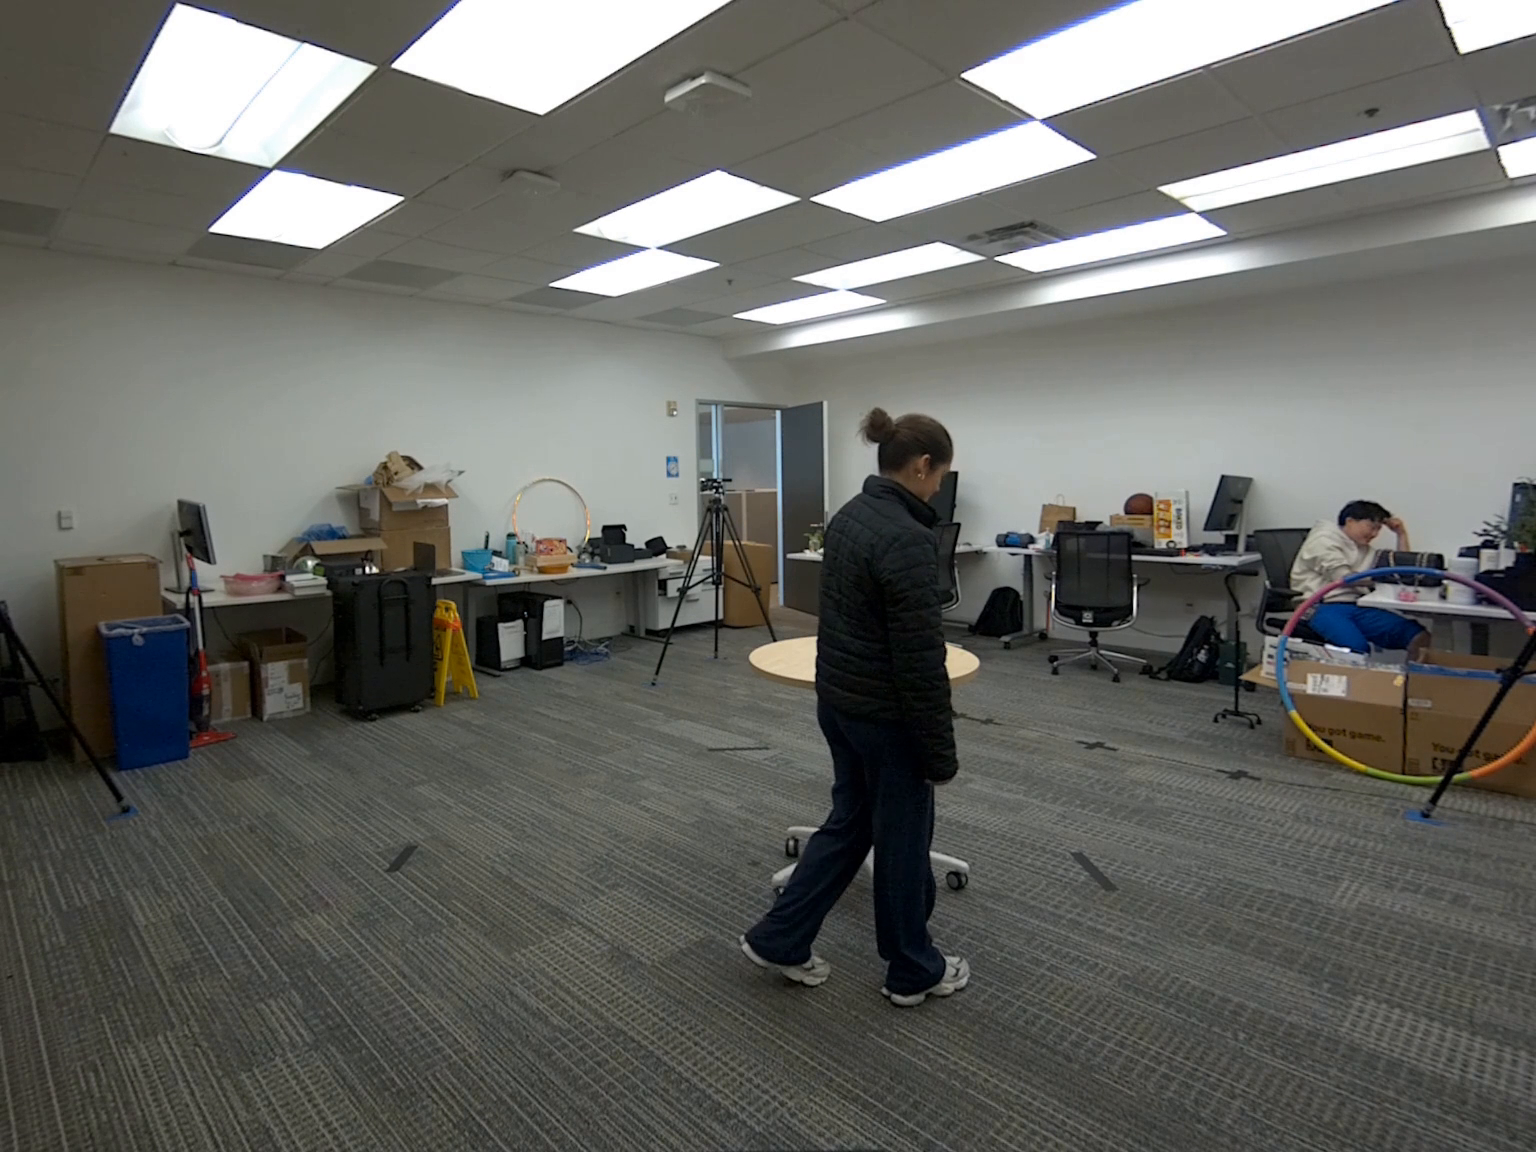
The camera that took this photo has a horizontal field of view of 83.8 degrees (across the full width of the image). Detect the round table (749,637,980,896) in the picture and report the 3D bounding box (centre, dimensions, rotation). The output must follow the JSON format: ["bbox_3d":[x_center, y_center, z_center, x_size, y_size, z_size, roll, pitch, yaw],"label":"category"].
[{"bbox_3d":[0.318,0.660,2.956,0.784,0.783,0.790,-1,6,-2],"label":"round table"}]
